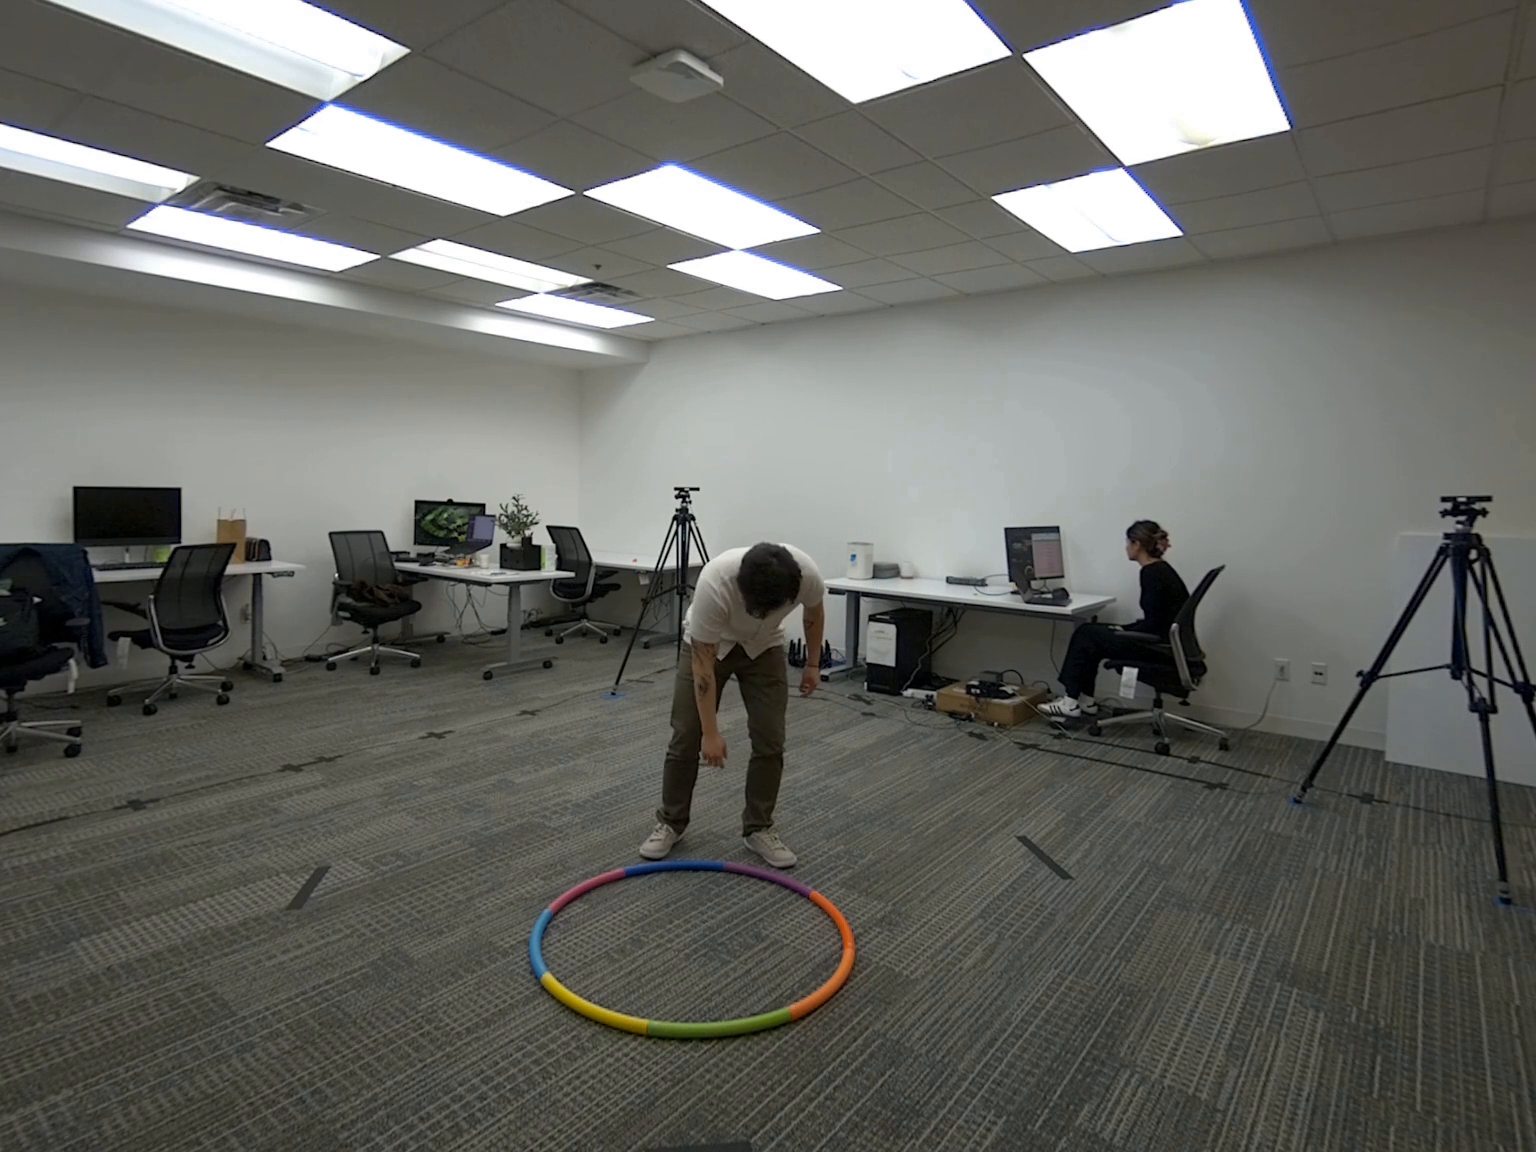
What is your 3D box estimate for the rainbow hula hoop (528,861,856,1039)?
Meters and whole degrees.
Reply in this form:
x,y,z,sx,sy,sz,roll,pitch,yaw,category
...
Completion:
x,y,z,sx,sy,sz,roll,pitch,yaw,category
-0.238,1.083,2.626,0.978,0.035,0.984,1,6,-2,rainbow hula hoop
